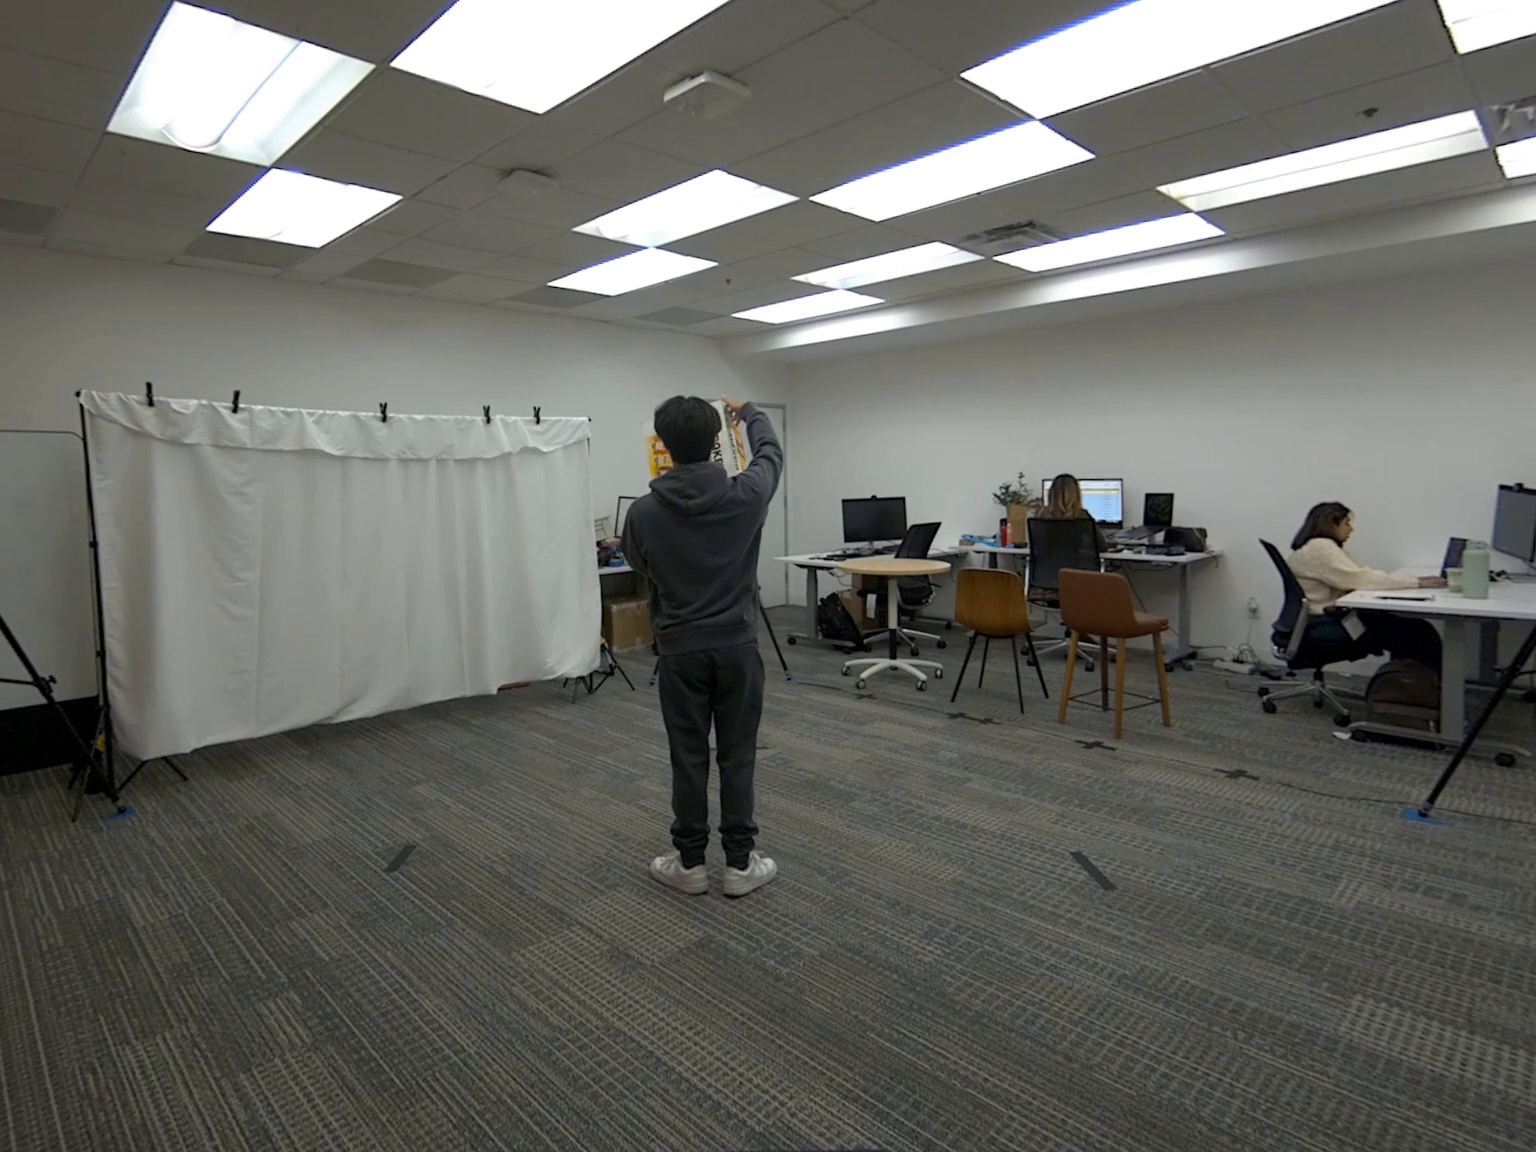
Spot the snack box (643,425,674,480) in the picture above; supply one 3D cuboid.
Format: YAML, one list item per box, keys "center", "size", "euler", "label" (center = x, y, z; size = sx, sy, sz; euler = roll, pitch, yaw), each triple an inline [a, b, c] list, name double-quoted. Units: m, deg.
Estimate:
- center: [-0.260, -0.437, 3.359]
  size: [0.344, 0.409, 0.201]
  euler: [-14, -10, 18]
  label: "snack box"
